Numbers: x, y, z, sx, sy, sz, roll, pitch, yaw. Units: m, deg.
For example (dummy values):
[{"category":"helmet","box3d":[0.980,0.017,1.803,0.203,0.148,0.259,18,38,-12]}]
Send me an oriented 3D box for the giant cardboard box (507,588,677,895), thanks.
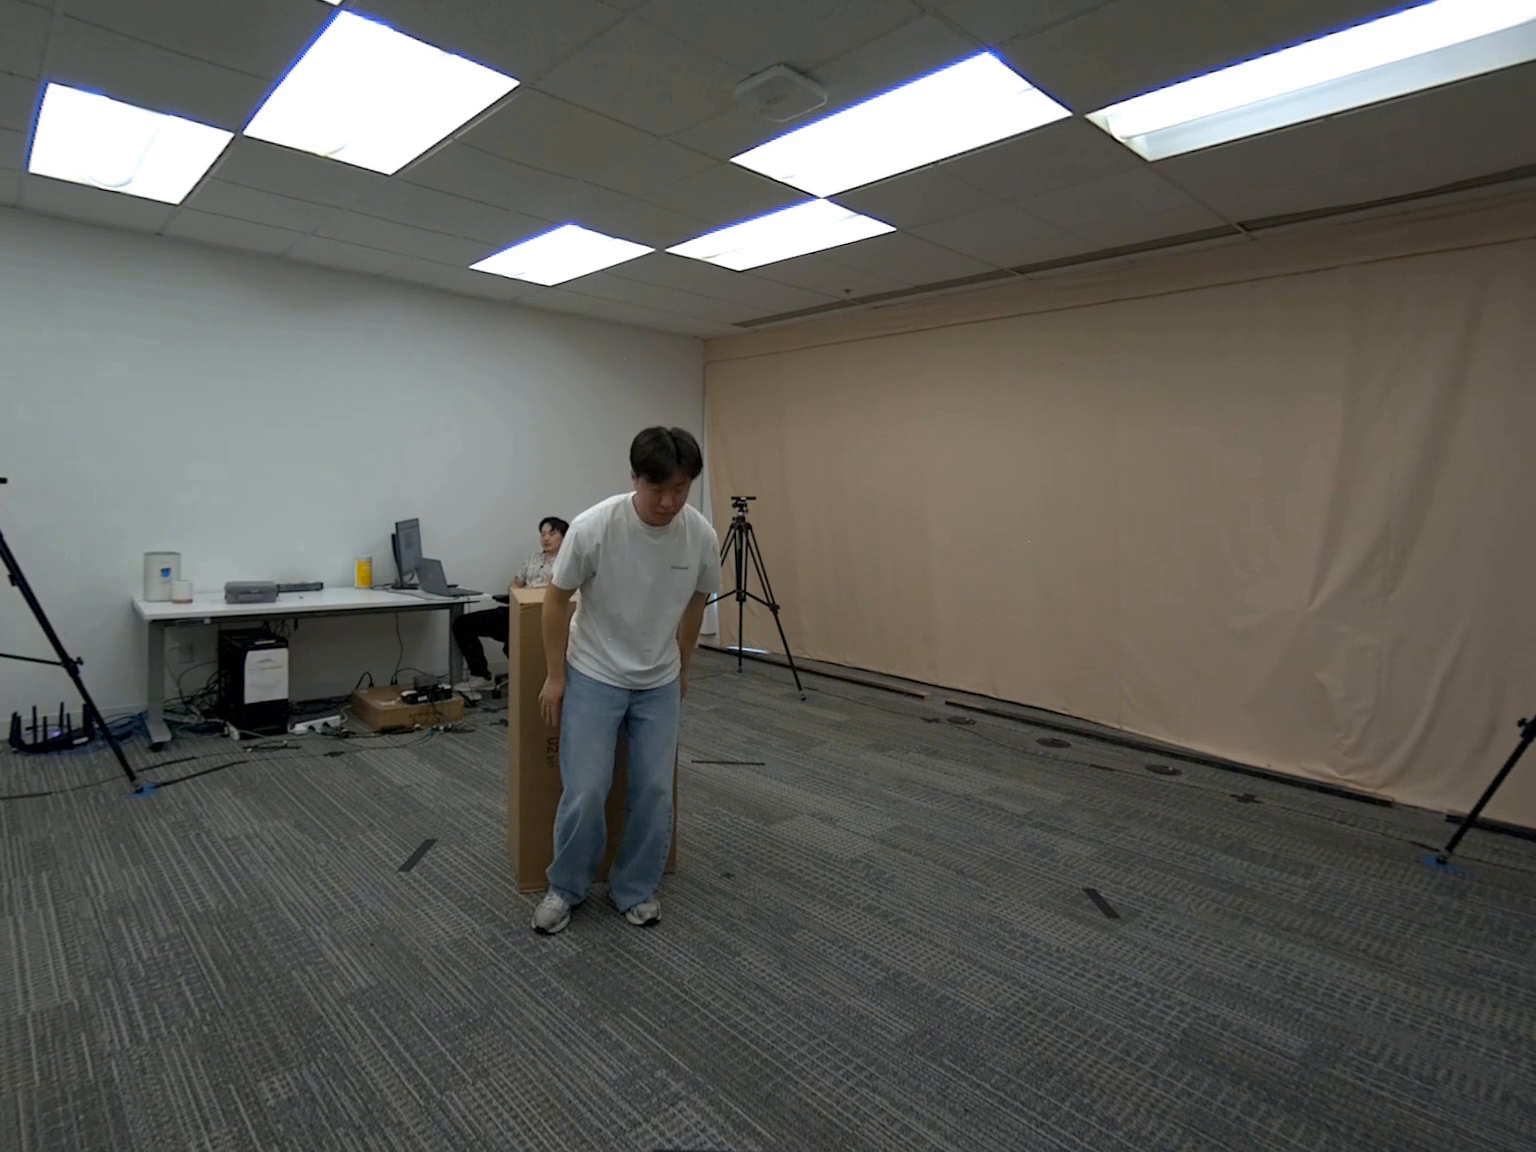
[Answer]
[{"category":"giant cardboard box","box3d":[-0.675,0.575,3.196,0.568,1.023,0.434,0,4,-21]}]
